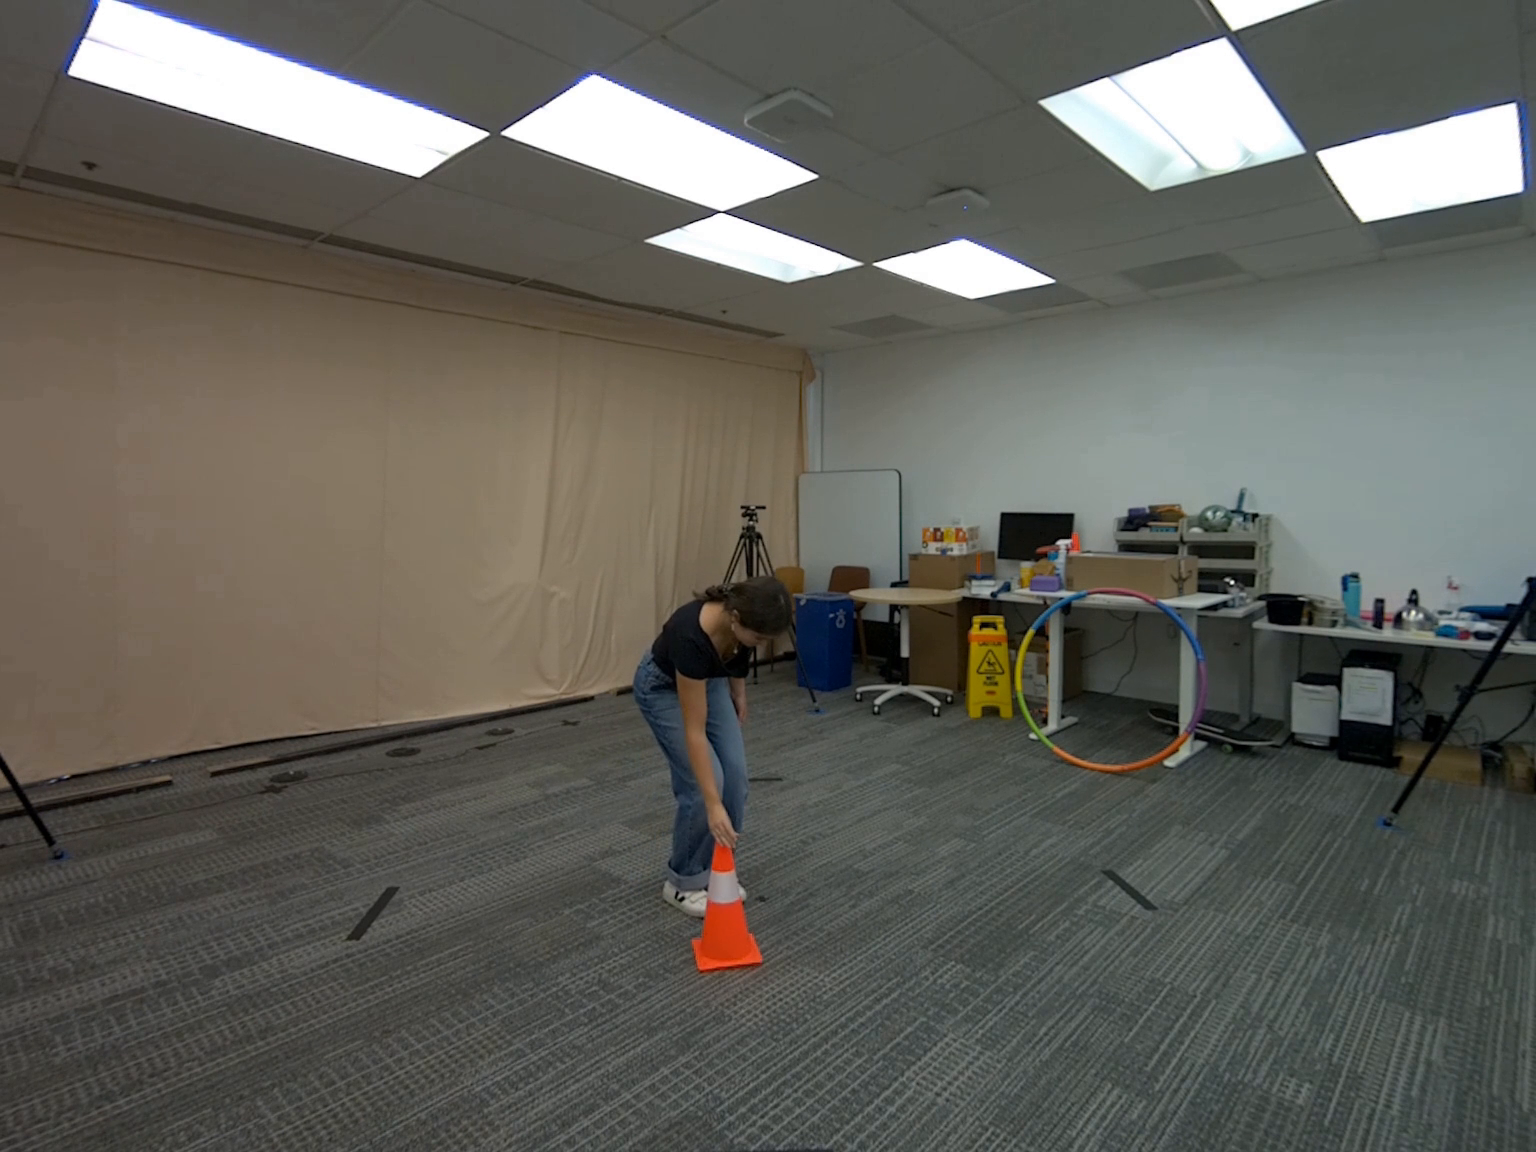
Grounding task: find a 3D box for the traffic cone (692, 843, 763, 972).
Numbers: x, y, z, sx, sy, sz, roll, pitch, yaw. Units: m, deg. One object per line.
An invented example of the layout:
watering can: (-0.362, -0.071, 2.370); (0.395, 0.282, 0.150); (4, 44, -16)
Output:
traffic cone: (-0.130, 0.970, 2.617); (0.201, 0.383, 0.207); (-2, 1, -9)
